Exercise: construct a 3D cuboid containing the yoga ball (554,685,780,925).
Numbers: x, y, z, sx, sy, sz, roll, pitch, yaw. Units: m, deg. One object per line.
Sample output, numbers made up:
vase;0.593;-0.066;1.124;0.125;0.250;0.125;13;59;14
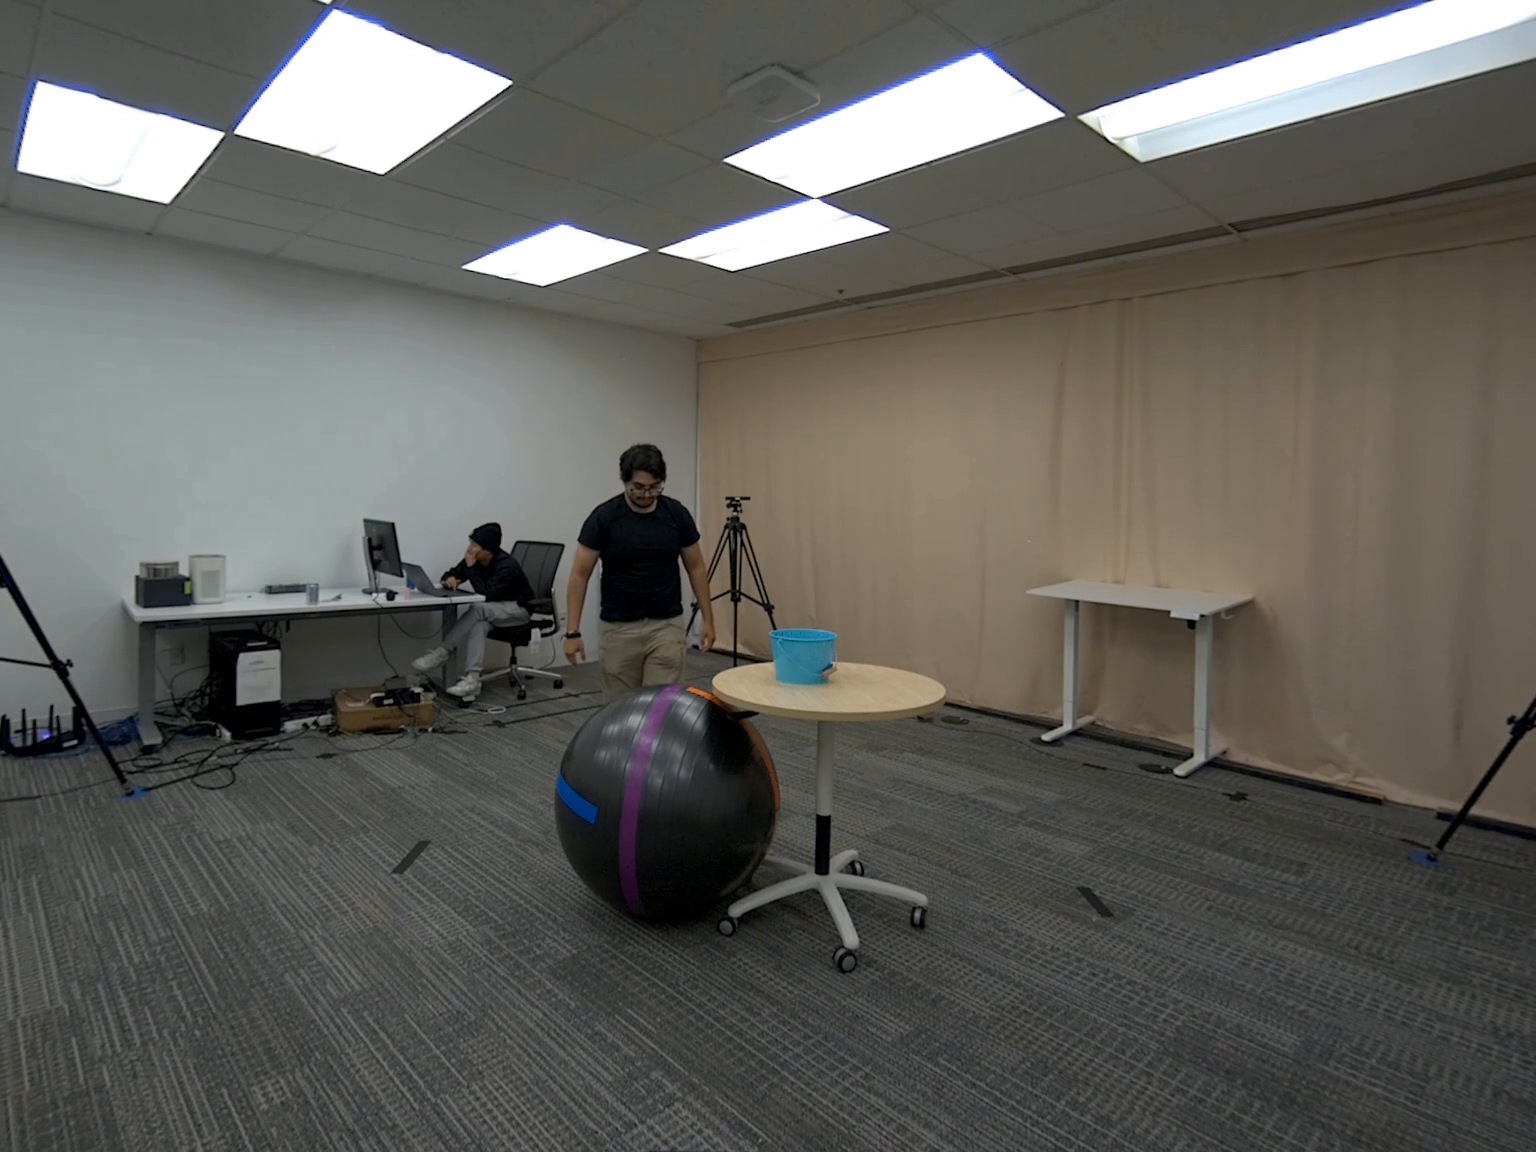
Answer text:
yoga ball;-0.356;0.760;2.862;0.757;0.756;0.761;1;4;-1
